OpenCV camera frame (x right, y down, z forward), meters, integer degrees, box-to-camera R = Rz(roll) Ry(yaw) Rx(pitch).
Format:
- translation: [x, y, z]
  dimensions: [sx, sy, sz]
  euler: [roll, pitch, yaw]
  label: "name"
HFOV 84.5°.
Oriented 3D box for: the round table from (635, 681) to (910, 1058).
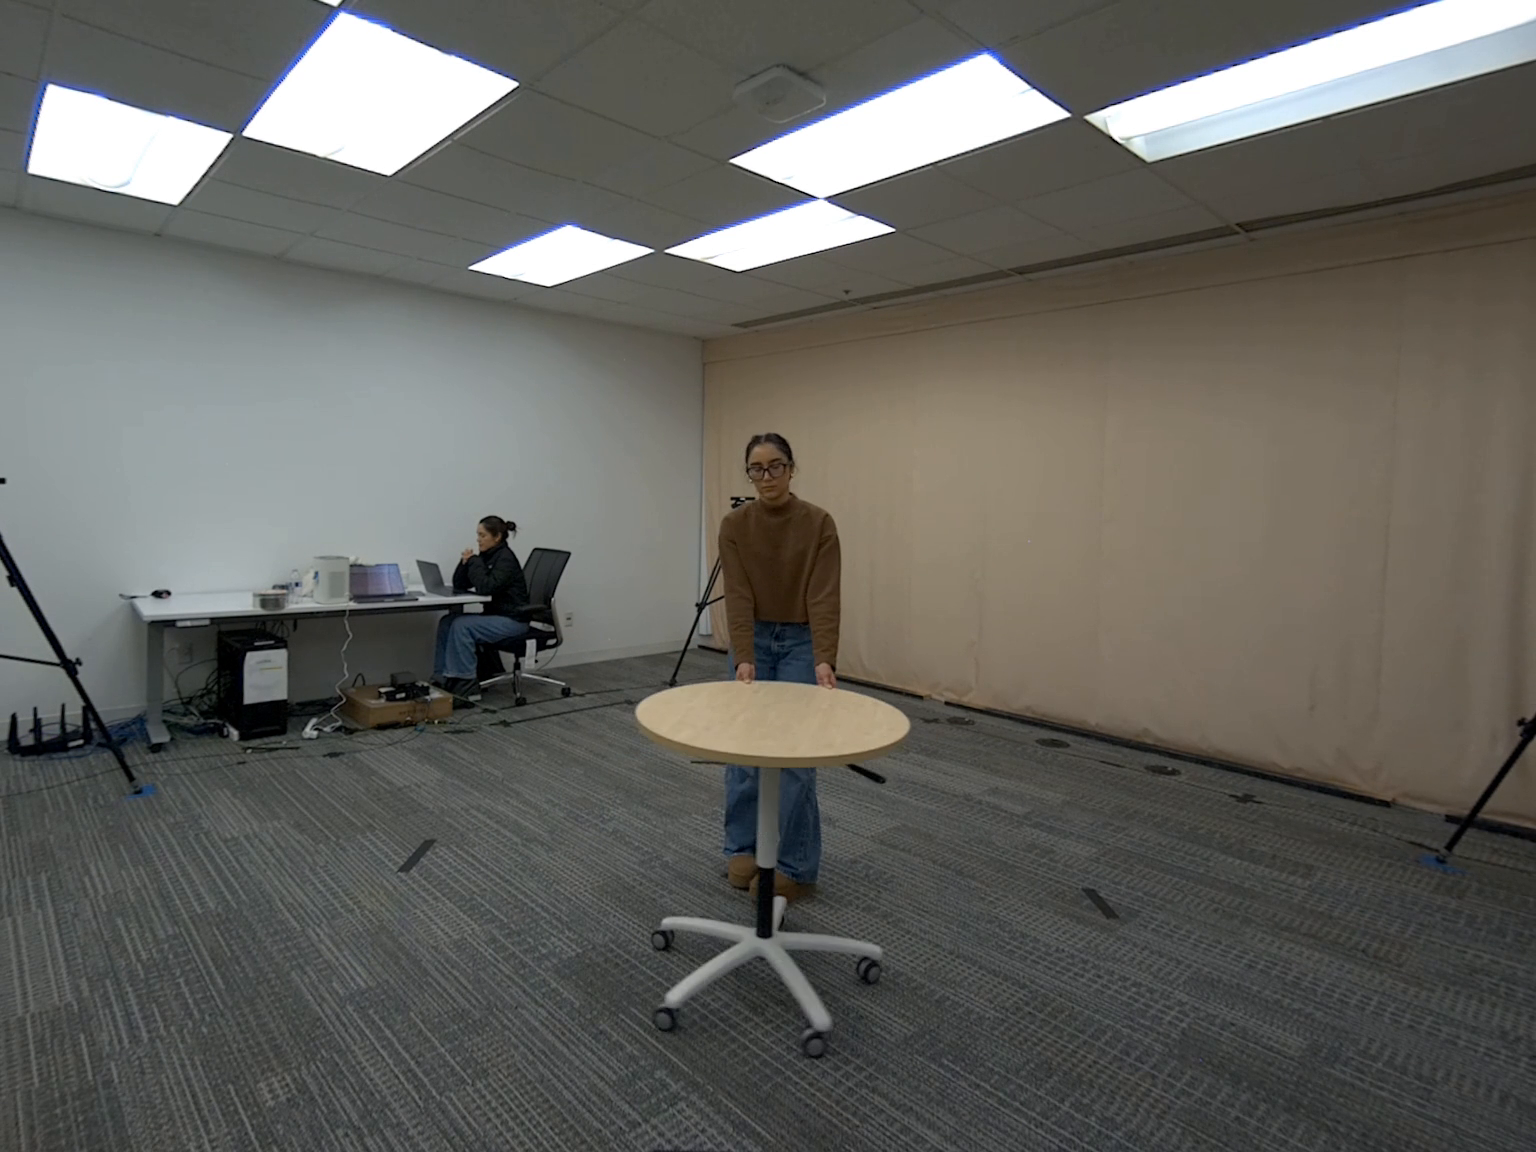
- translation: [-0.028, 0.777, 2.427]
  dimensions: [0.784, 0.784, 0.788]
  euler: [2, 4, -2]
  label: "round table"
